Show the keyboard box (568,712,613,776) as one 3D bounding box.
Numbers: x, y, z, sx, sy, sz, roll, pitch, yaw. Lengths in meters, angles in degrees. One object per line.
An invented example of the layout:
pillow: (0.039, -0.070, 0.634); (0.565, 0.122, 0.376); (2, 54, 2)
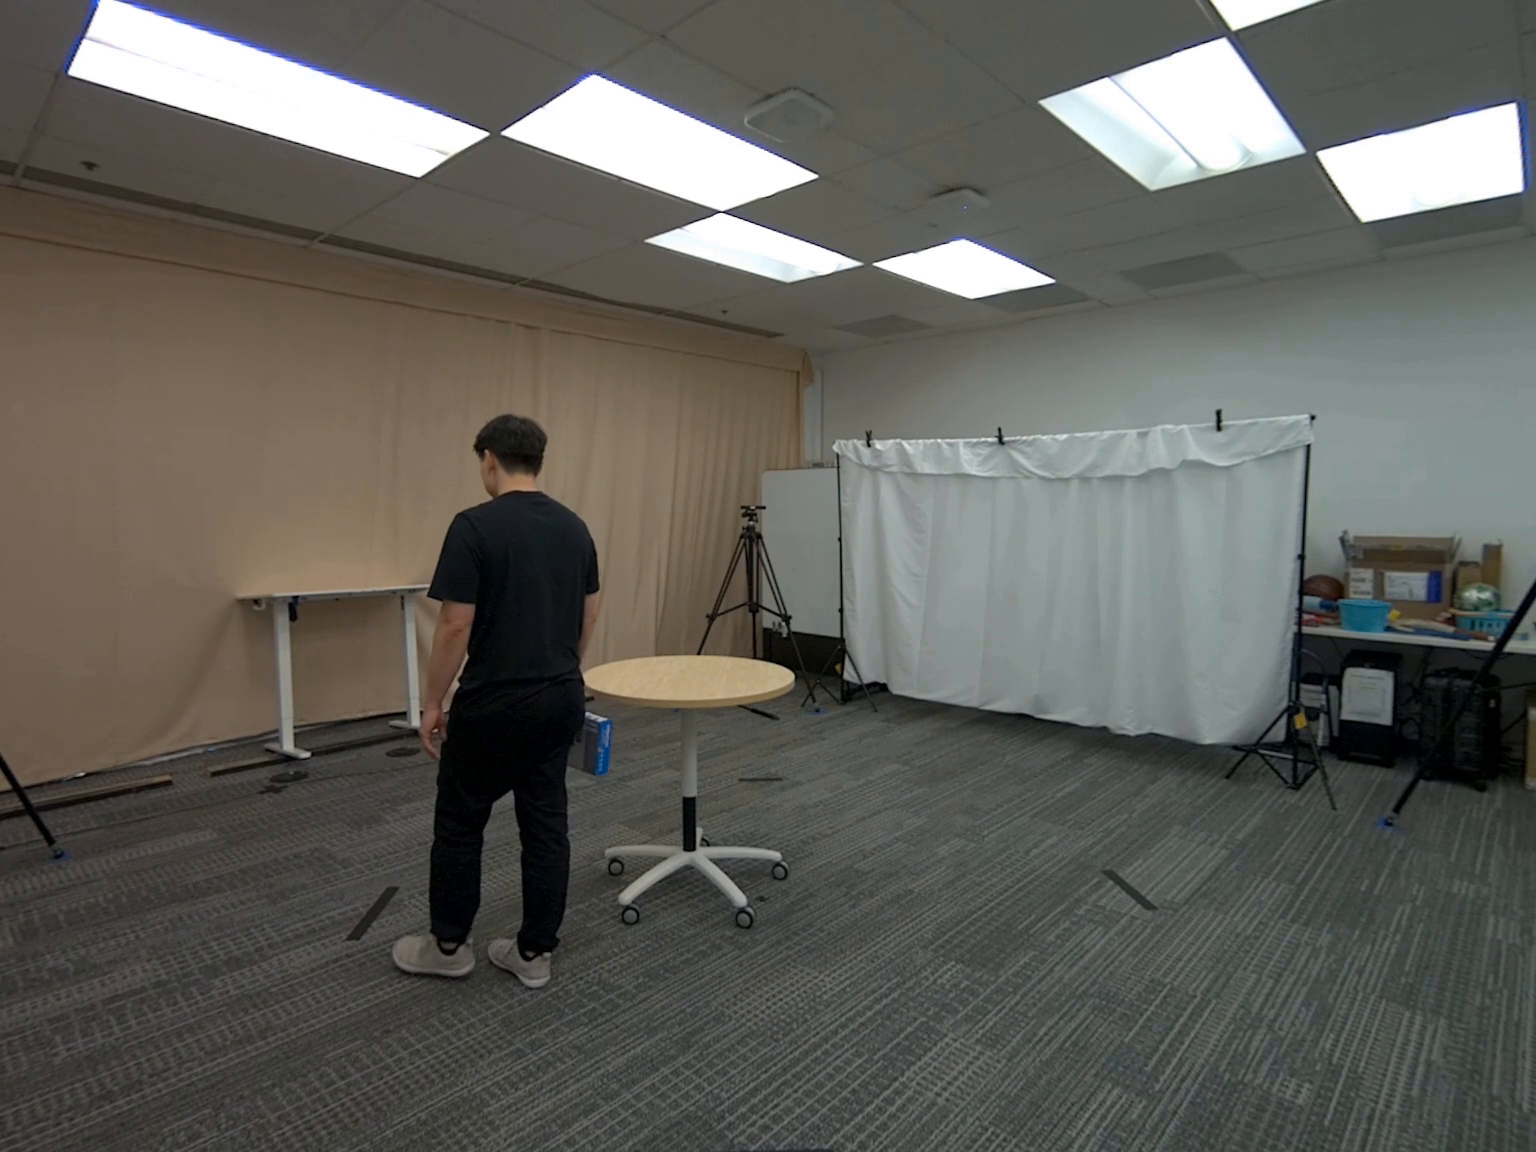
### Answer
keyboard box: (-0.695, 0.513, 2.746); (0.451, 0.175, 0.057); (10, 5, 32)
